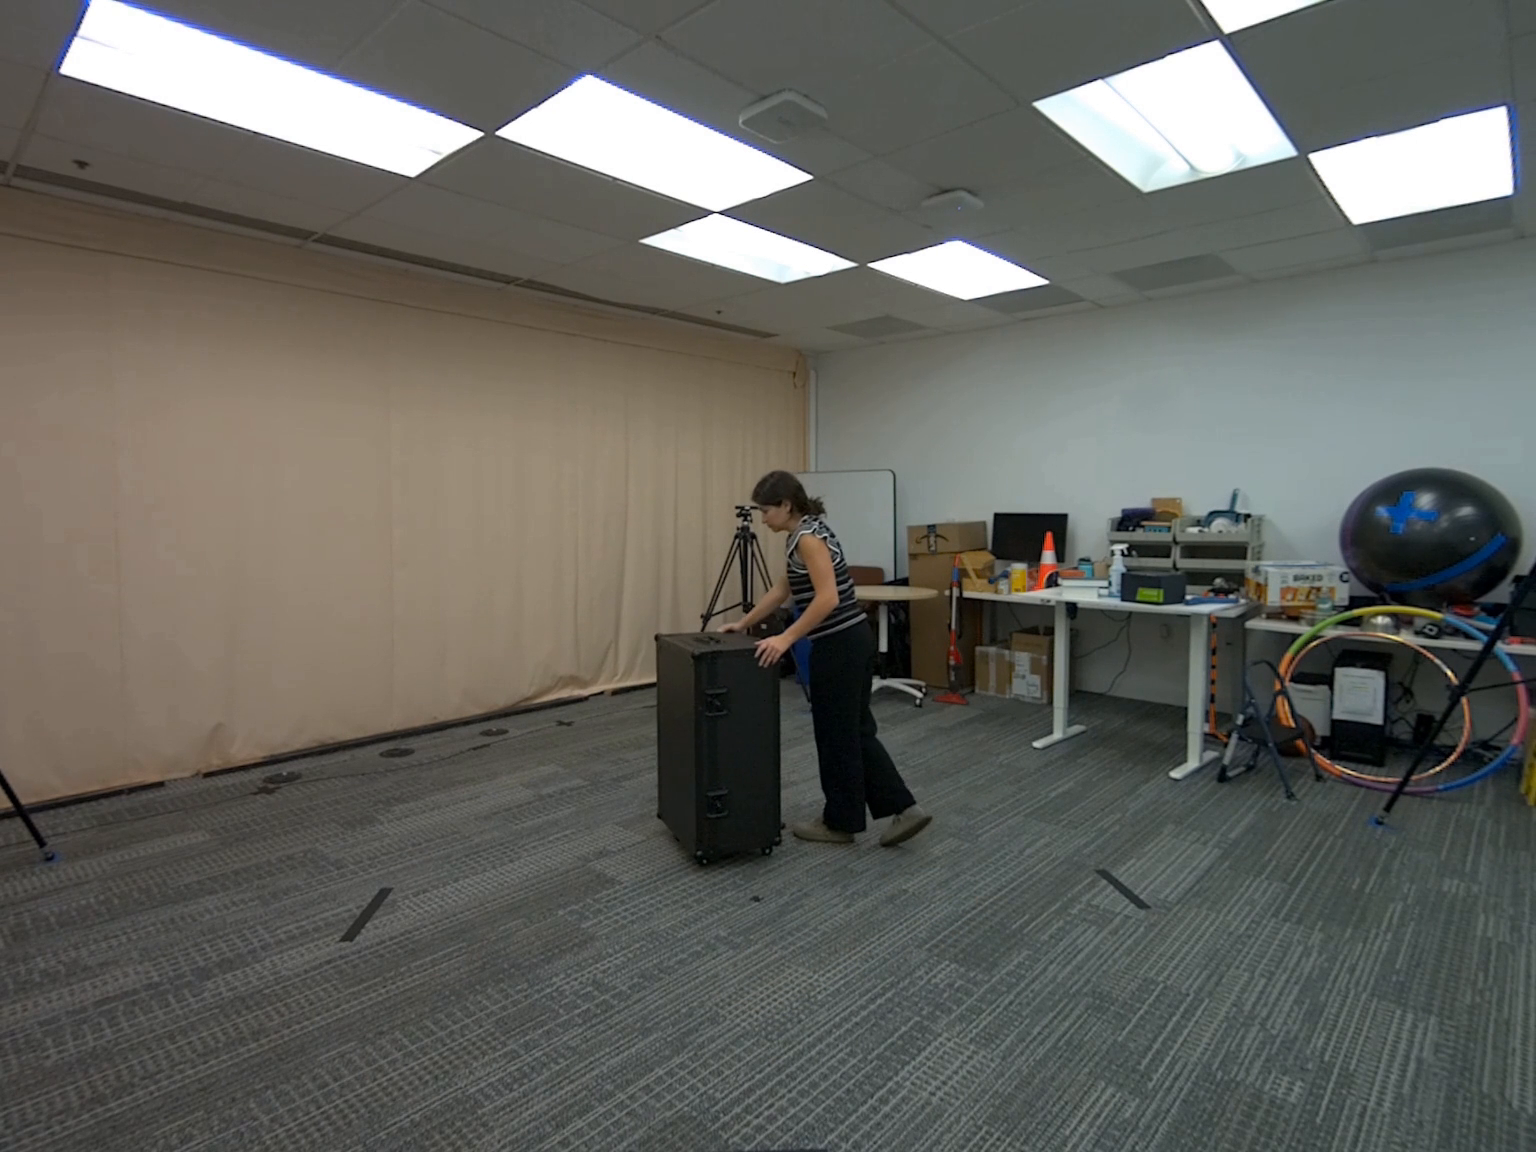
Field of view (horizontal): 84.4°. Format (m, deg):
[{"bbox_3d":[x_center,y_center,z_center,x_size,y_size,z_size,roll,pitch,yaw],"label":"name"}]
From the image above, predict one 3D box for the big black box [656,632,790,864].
[{"bbox_3d":[-0.201,0.683,3.426,0.387,0.860,0.534,-1,3,-24],"label":"big black box"}]
